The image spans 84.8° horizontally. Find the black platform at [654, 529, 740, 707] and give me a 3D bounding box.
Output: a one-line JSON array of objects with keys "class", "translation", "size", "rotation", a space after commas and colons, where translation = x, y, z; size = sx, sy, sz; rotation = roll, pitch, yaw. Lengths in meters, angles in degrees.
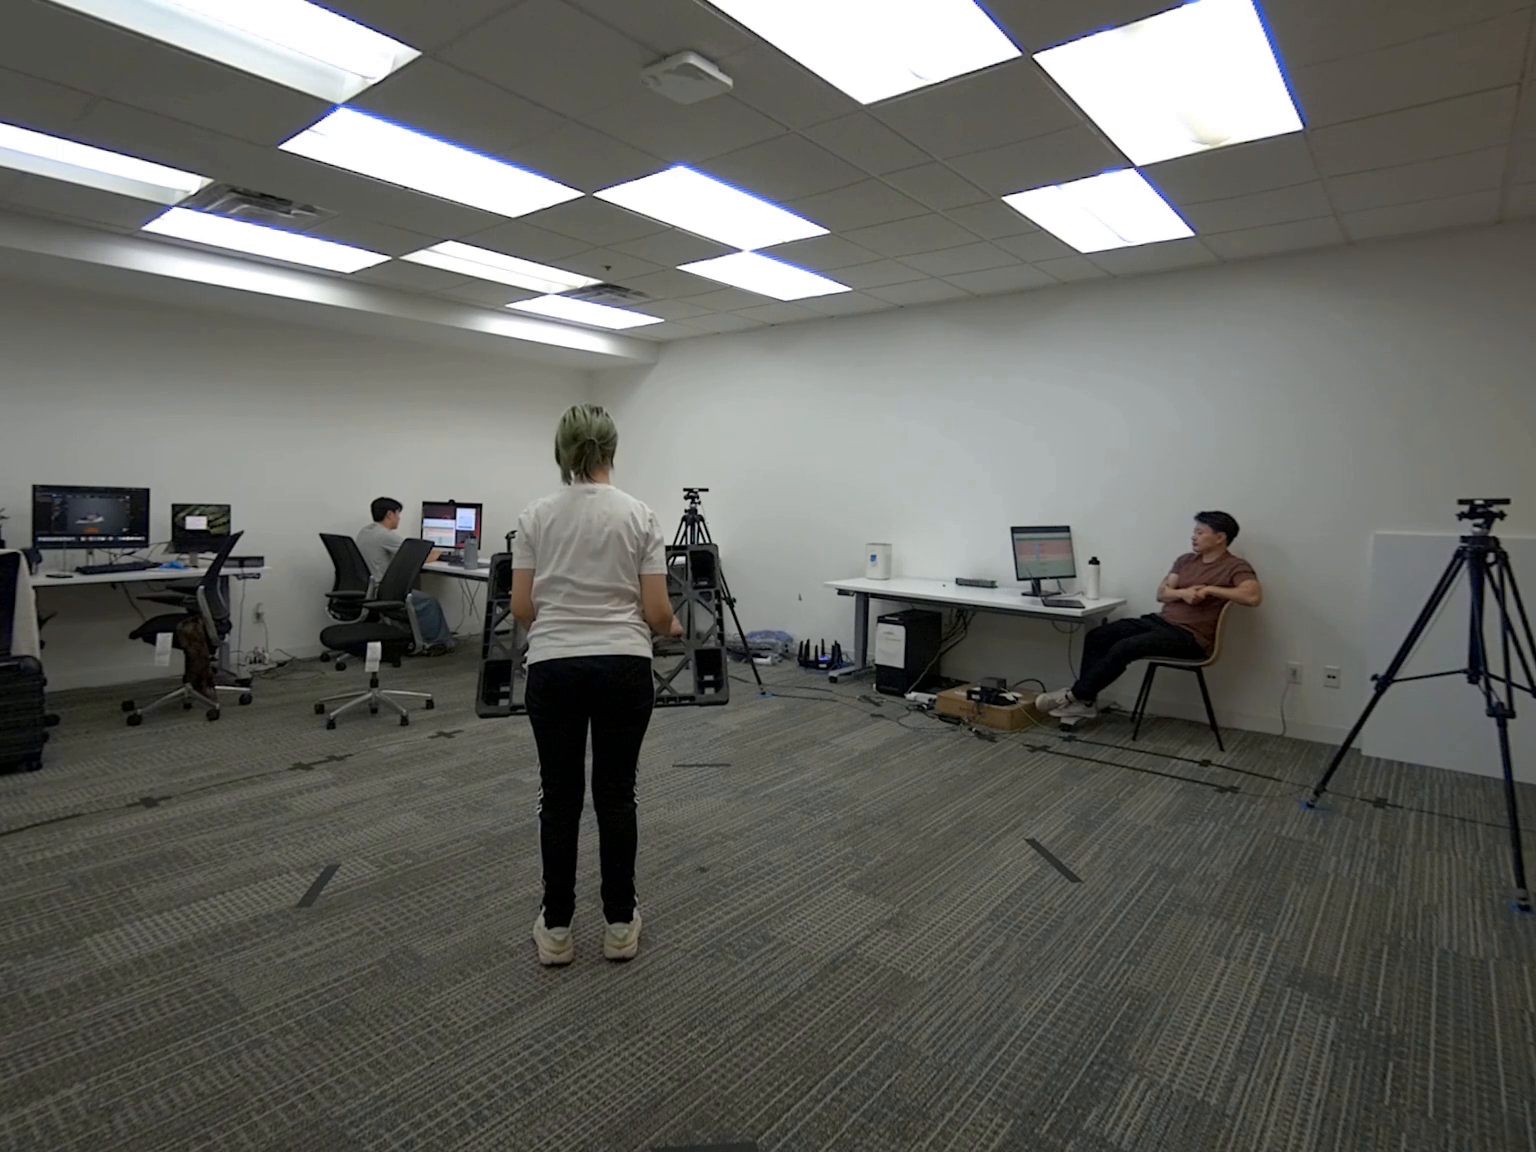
[{"class": "black platform", "translation": [-0.554, 0.186, 2.872], "size": [0.802, 0.622, 0.140], "rotation": [-4, -31, -4]}]
